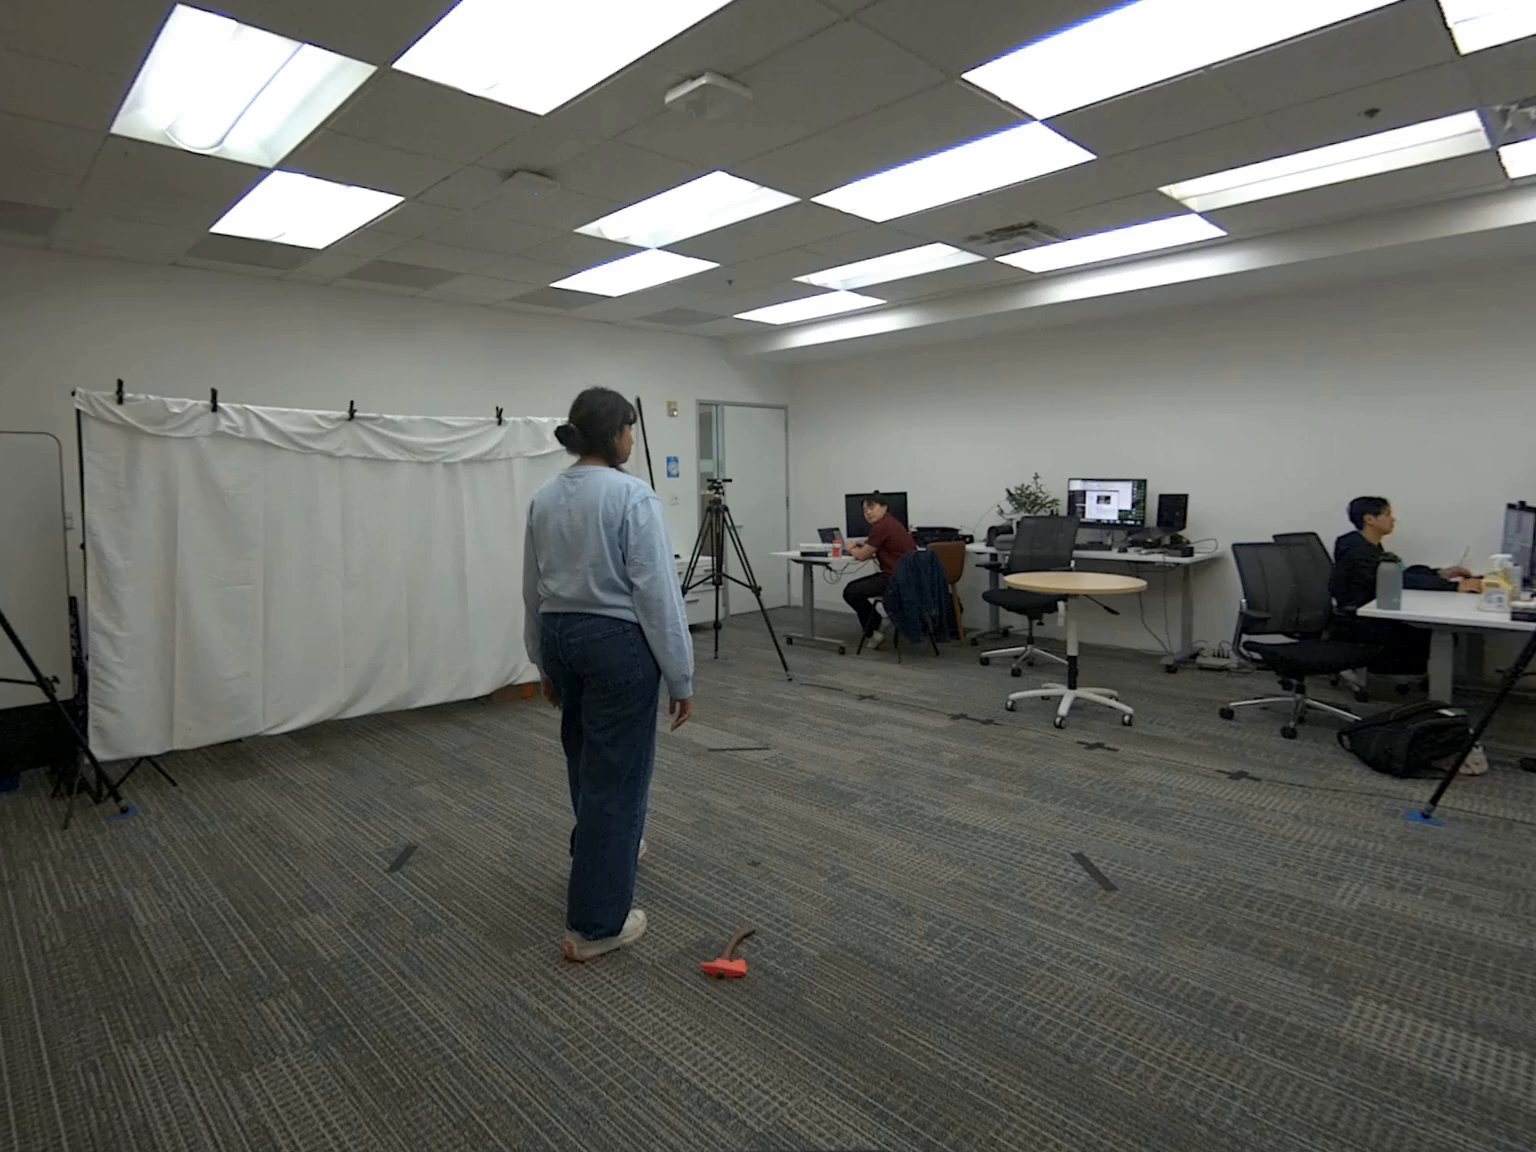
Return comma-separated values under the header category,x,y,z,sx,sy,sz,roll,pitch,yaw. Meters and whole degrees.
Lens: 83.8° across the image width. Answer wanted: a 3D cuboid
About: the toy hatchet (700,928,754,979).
category,x,y,z,sx,sy,sz,roll,pitch,yaw
toy hatchet,-0.078,1.090,2.516,0.134,0.029,0.264,3,7,30
